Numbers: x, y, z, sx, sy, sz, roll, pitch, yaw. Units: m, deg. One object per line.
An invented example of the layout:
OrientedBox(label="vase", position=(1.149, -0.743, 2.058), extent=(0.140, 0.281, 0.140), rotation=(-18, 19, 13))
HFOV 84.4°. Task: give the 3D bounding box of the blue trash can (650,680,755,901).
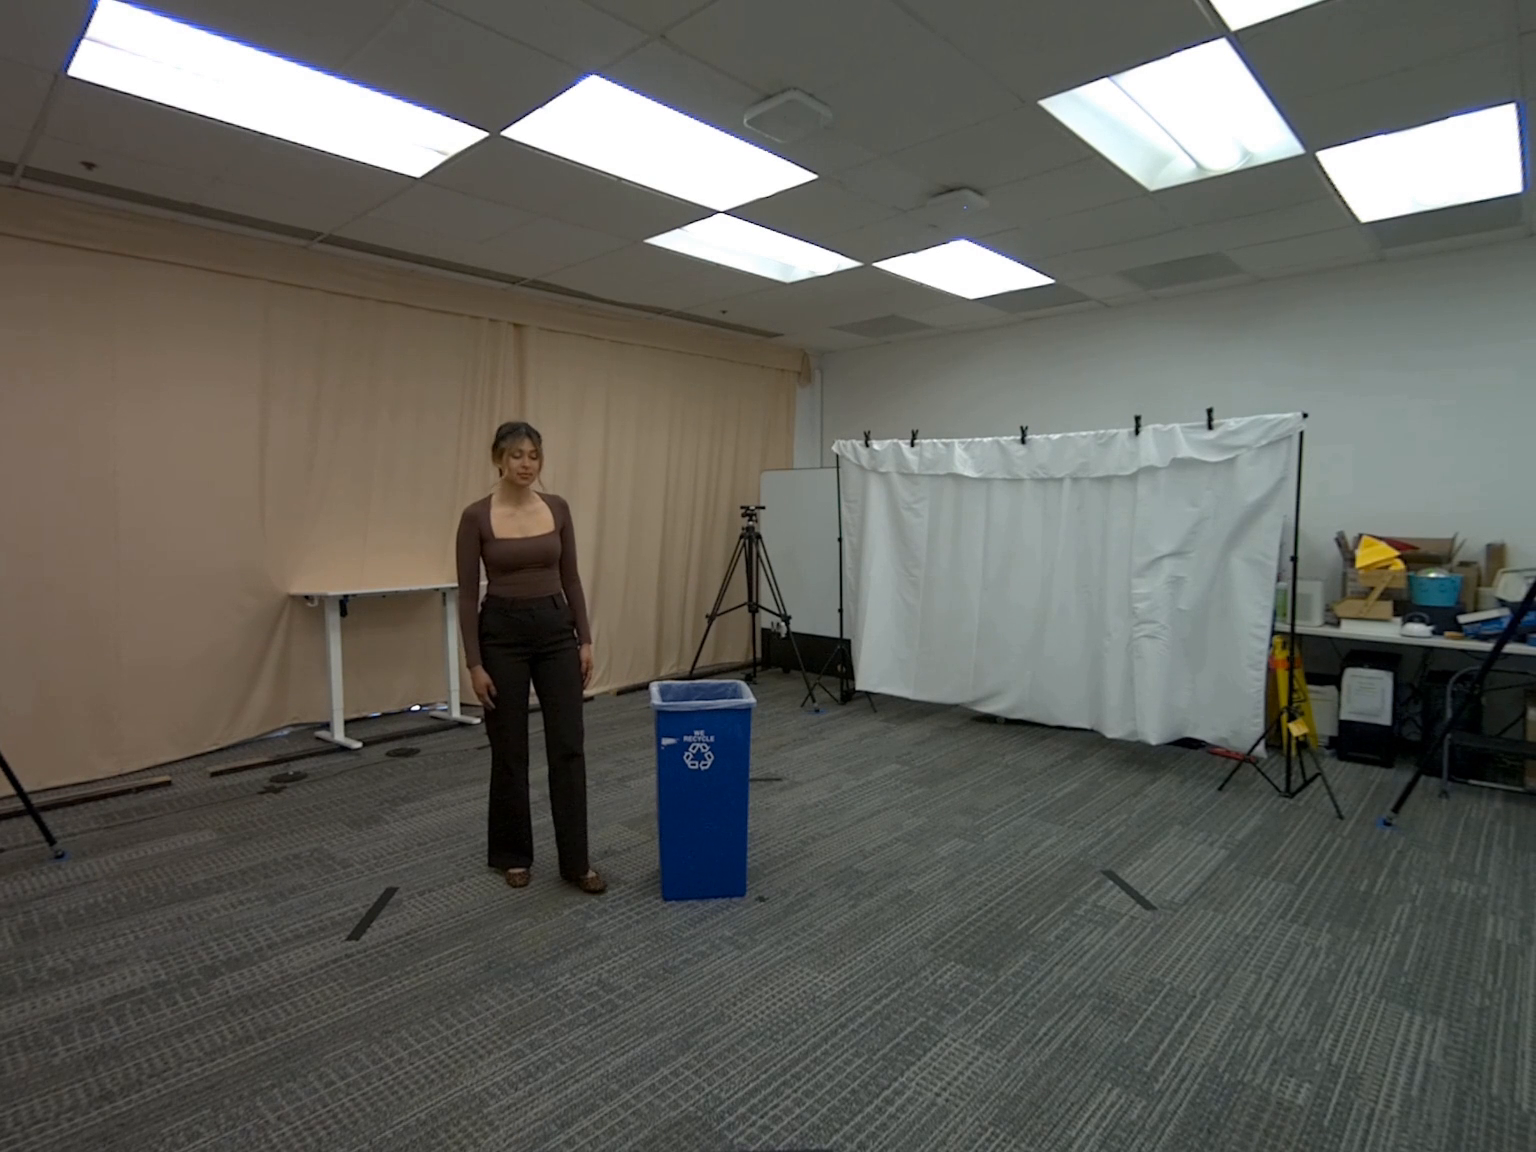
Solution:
OrientedBox(label="blue trash can", position=(-0.244, 0.777, 3.107), extent=(0.375, 0.712, 0.378), rotation=(-1, 2, -9))
